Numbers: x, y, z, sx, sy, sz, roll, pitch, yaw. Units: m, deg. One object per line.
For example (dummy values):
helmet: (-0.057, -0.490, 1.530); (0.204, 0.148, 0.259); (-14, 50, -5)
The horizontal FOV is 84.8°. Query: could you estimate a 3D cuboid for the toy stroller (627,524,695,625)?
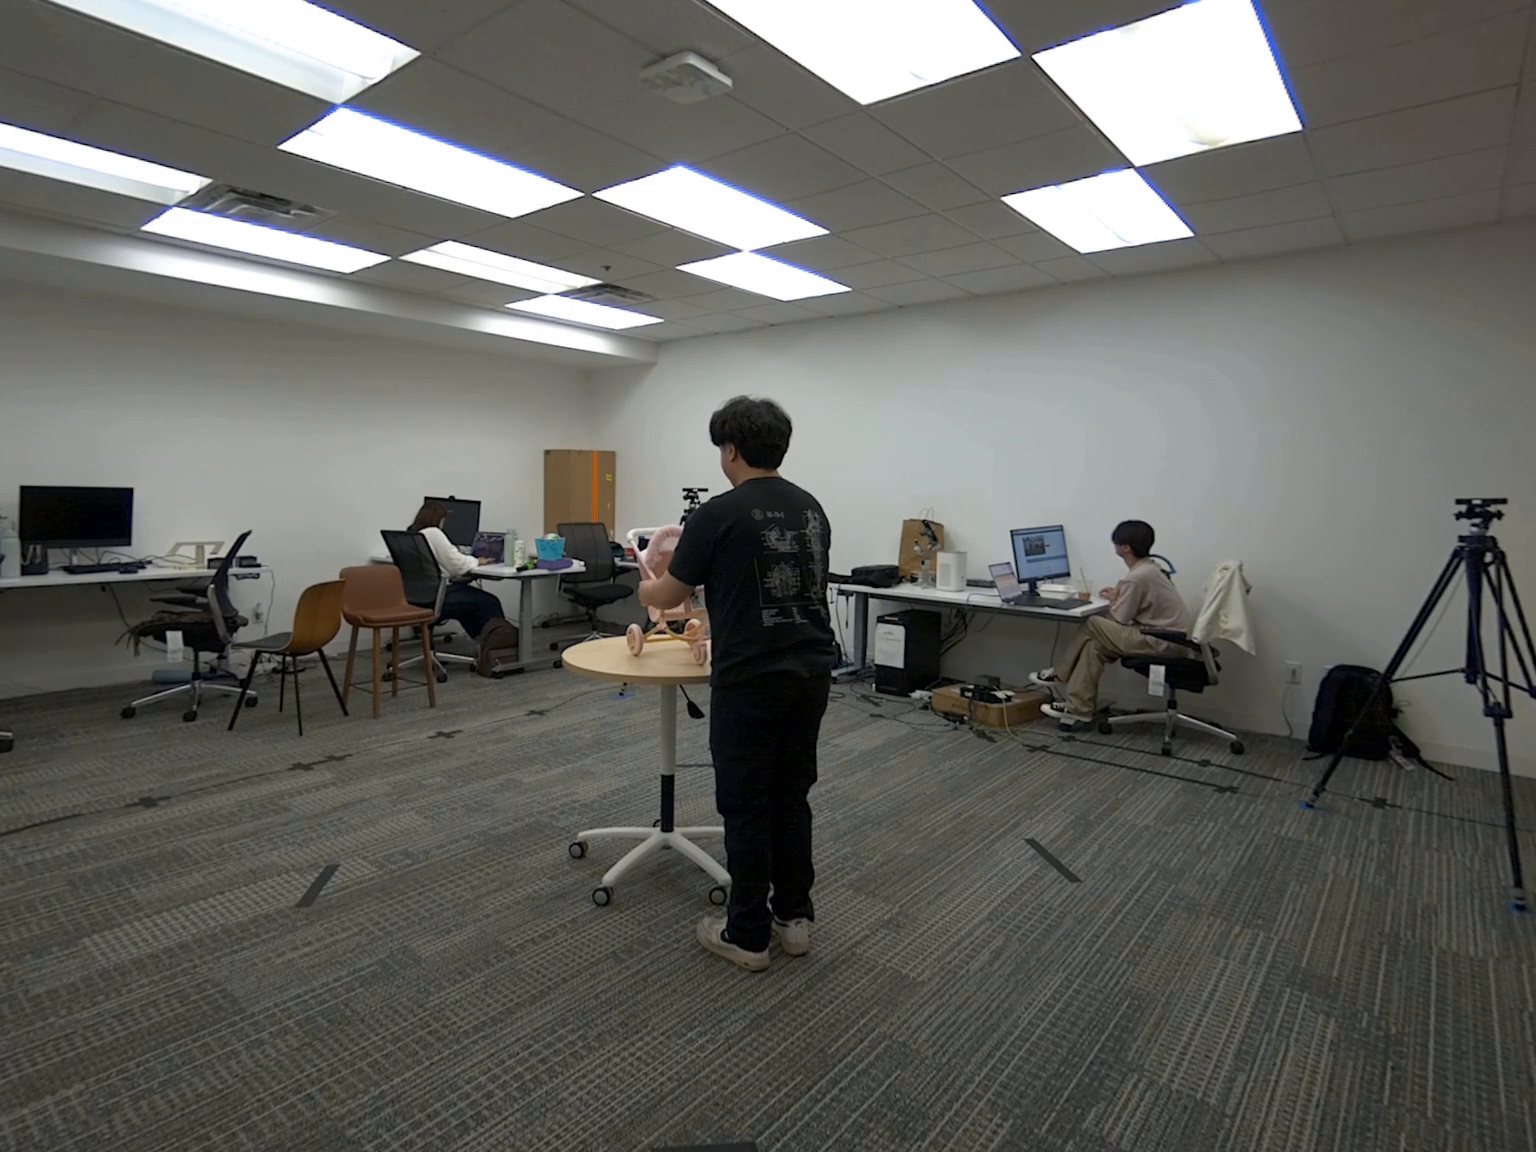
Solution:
toy stroller: (-0.344, 0.053, 3.027); (0.274, 0.540, 0.347); (-2, -10, -28)
